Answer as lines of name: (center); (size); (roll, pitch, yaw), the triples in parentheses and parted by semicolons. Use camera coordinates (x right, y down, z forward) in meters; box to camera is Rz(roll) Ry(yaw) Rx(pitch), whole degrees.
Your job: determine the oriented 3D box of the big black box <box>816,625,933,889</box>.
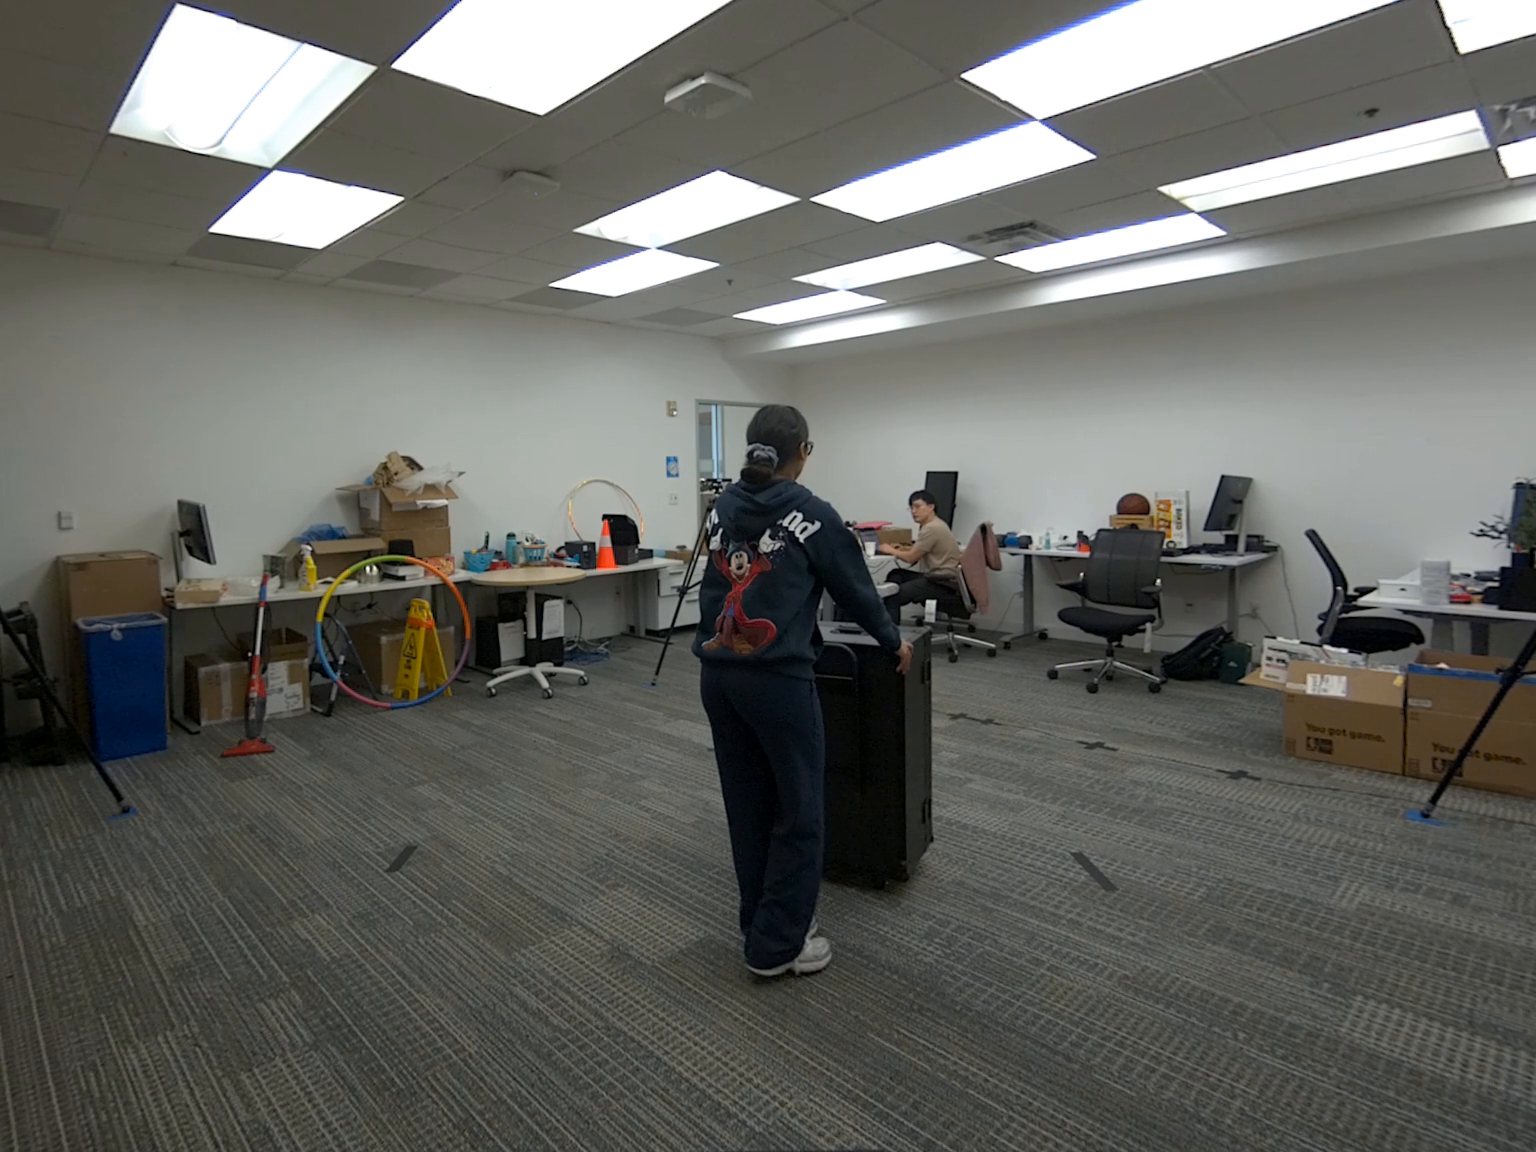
big black box: (0.305, 0.625, 3.020); (0.534, 0.857, 0.389); (1, 7, 27)
